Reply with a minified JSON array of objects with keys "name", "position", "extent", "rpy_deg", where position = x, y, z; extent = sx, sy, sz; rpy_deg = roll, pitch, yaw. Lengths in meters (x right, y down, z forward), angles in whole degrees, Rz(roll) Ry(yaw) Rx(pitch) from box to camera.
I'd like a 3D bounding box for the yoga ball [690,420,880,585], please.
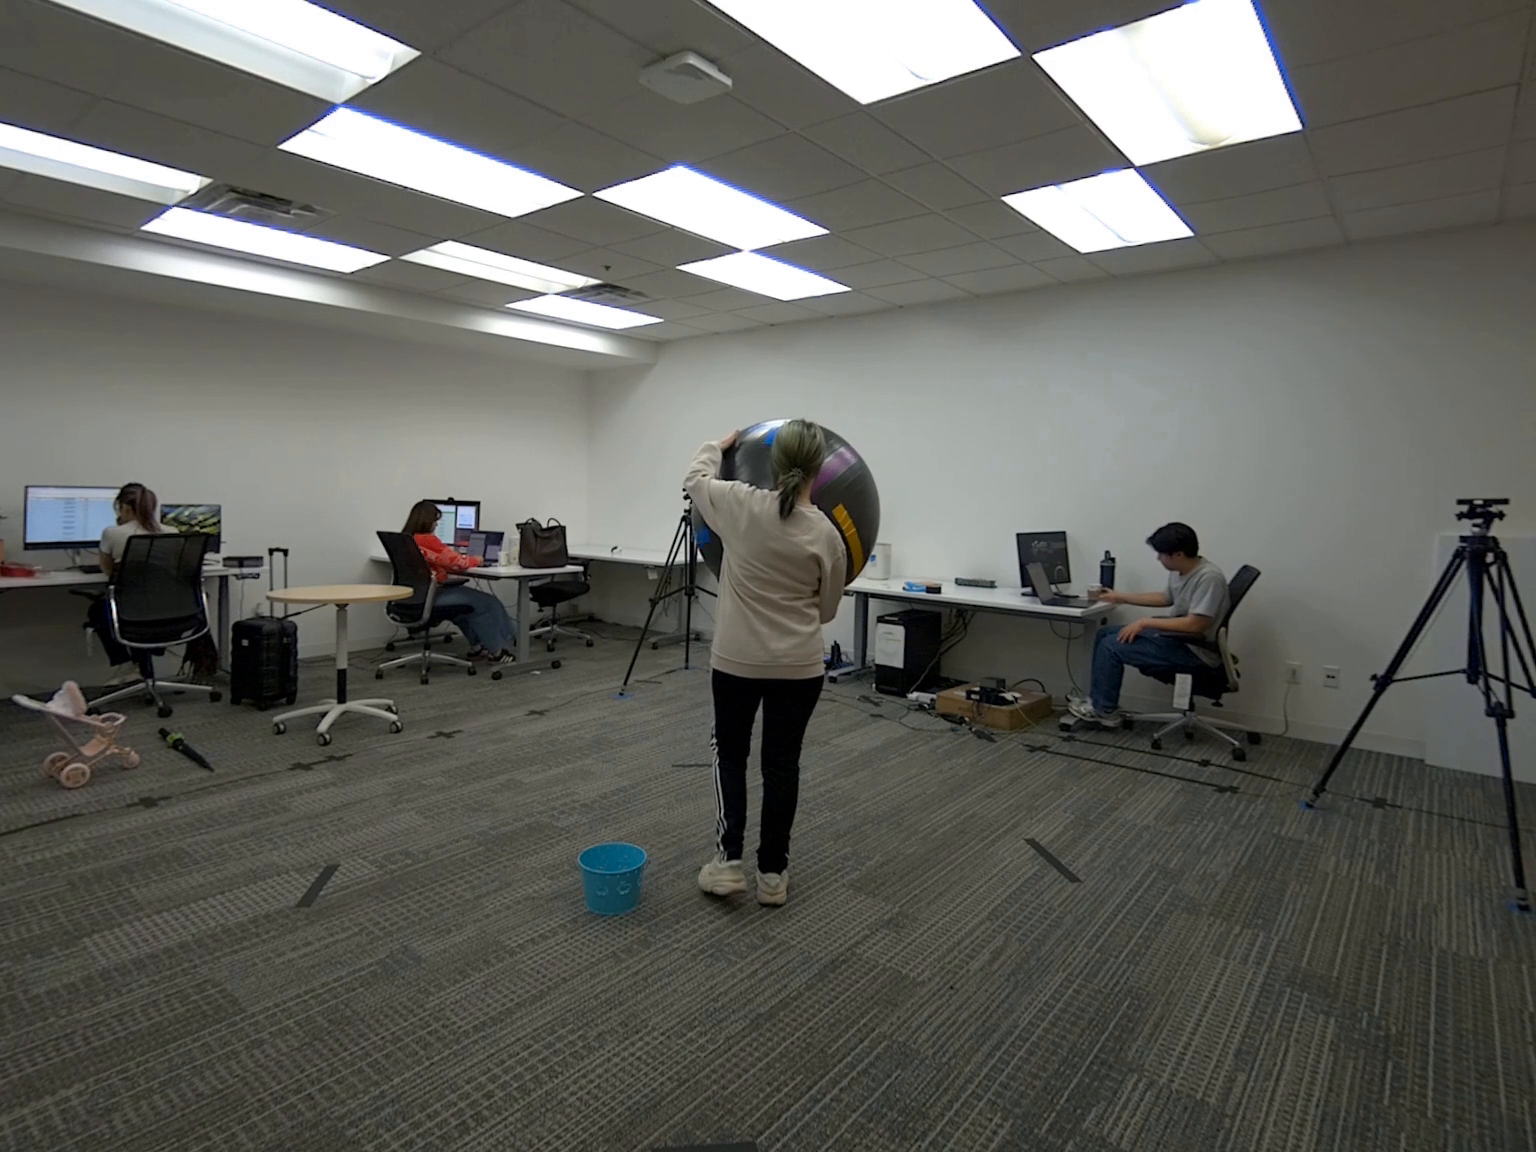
[{"name":"yoga ball","position":[0.057,-0.248,3.441],"extent":[0.757,0.756,0.761],"rpy_deg":[1,4,-2]}]
